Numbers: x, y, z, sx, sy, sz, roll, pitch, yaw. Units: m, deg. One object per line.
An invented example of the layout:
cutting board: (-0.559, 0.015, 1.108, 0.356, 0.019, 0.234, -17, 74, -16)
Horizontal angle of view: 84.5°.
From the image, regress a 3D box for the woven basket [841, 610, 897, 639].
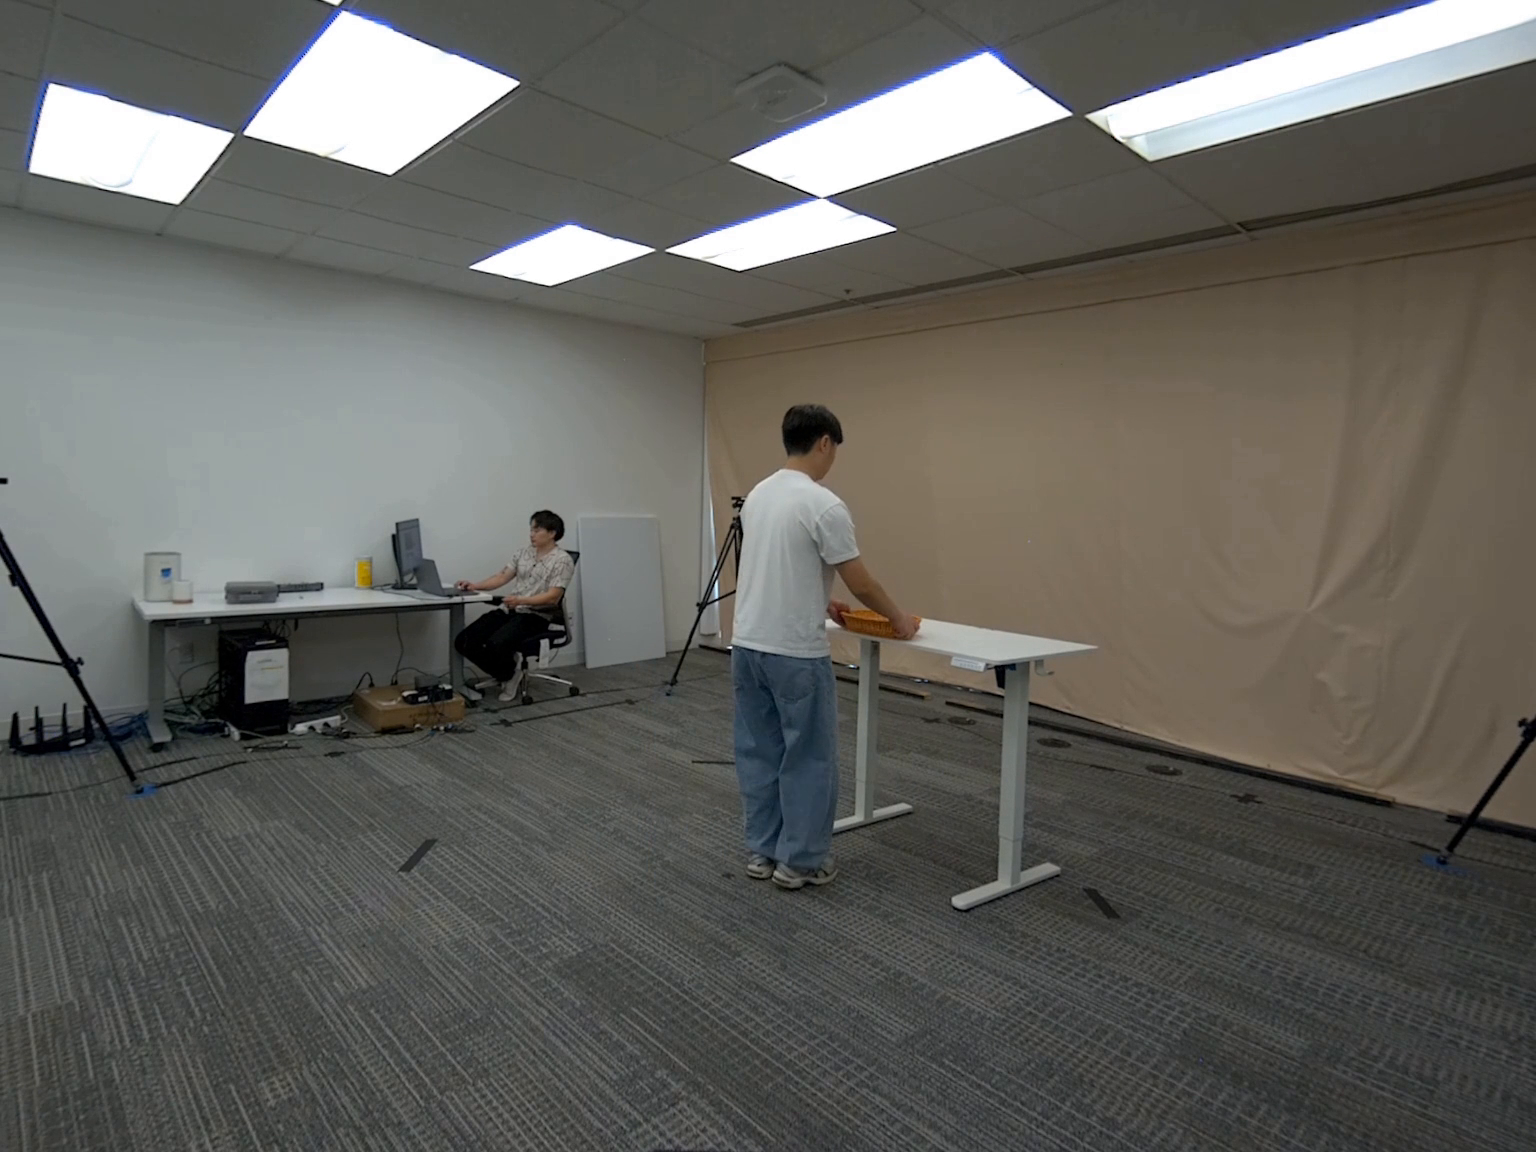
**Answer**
woven basket: (0.433, 0.189, 3.283, 0.247, 0.073, 0.358, 0, 4, -29)
